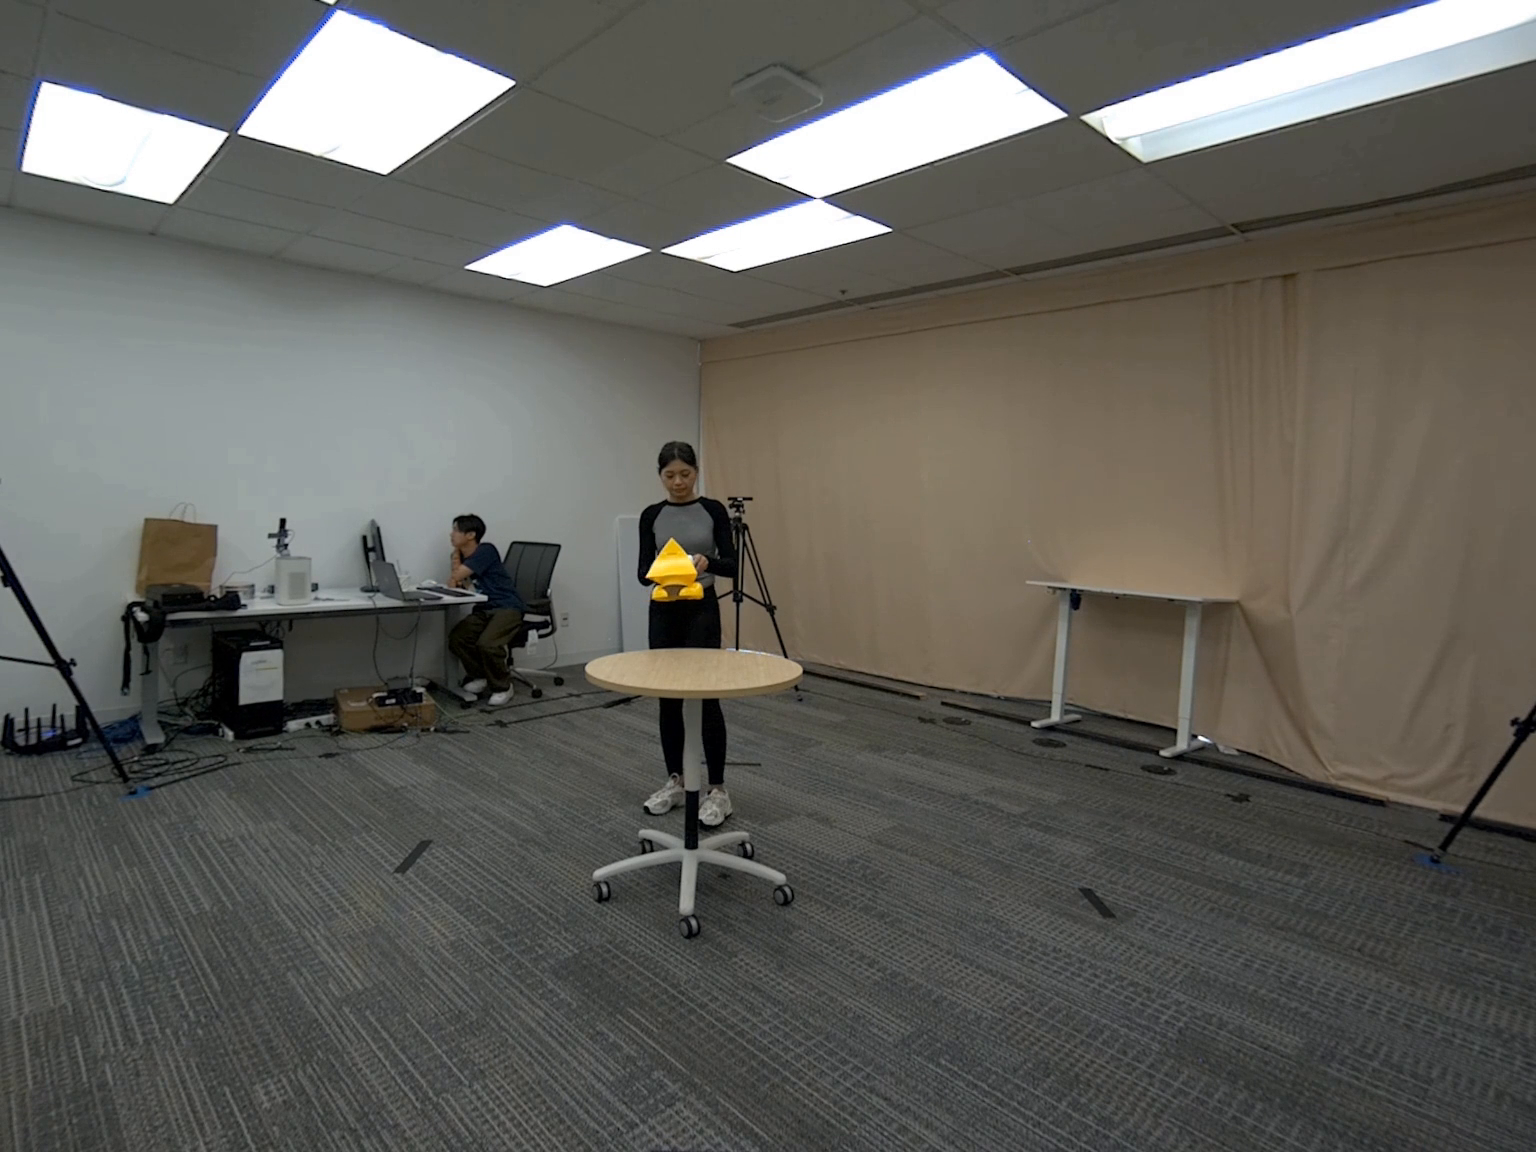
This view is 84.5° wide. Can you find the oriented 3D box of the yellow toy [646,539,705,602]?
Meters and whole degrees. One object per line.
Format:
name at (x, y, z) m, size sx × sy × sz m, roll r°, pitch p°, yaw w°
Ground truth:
yellow toy at (-0.386, -0.028, 3.343) m, size 0.206 × 0.232 × 0.190 m, roll -4°, pitch -8°, yaw 8°
